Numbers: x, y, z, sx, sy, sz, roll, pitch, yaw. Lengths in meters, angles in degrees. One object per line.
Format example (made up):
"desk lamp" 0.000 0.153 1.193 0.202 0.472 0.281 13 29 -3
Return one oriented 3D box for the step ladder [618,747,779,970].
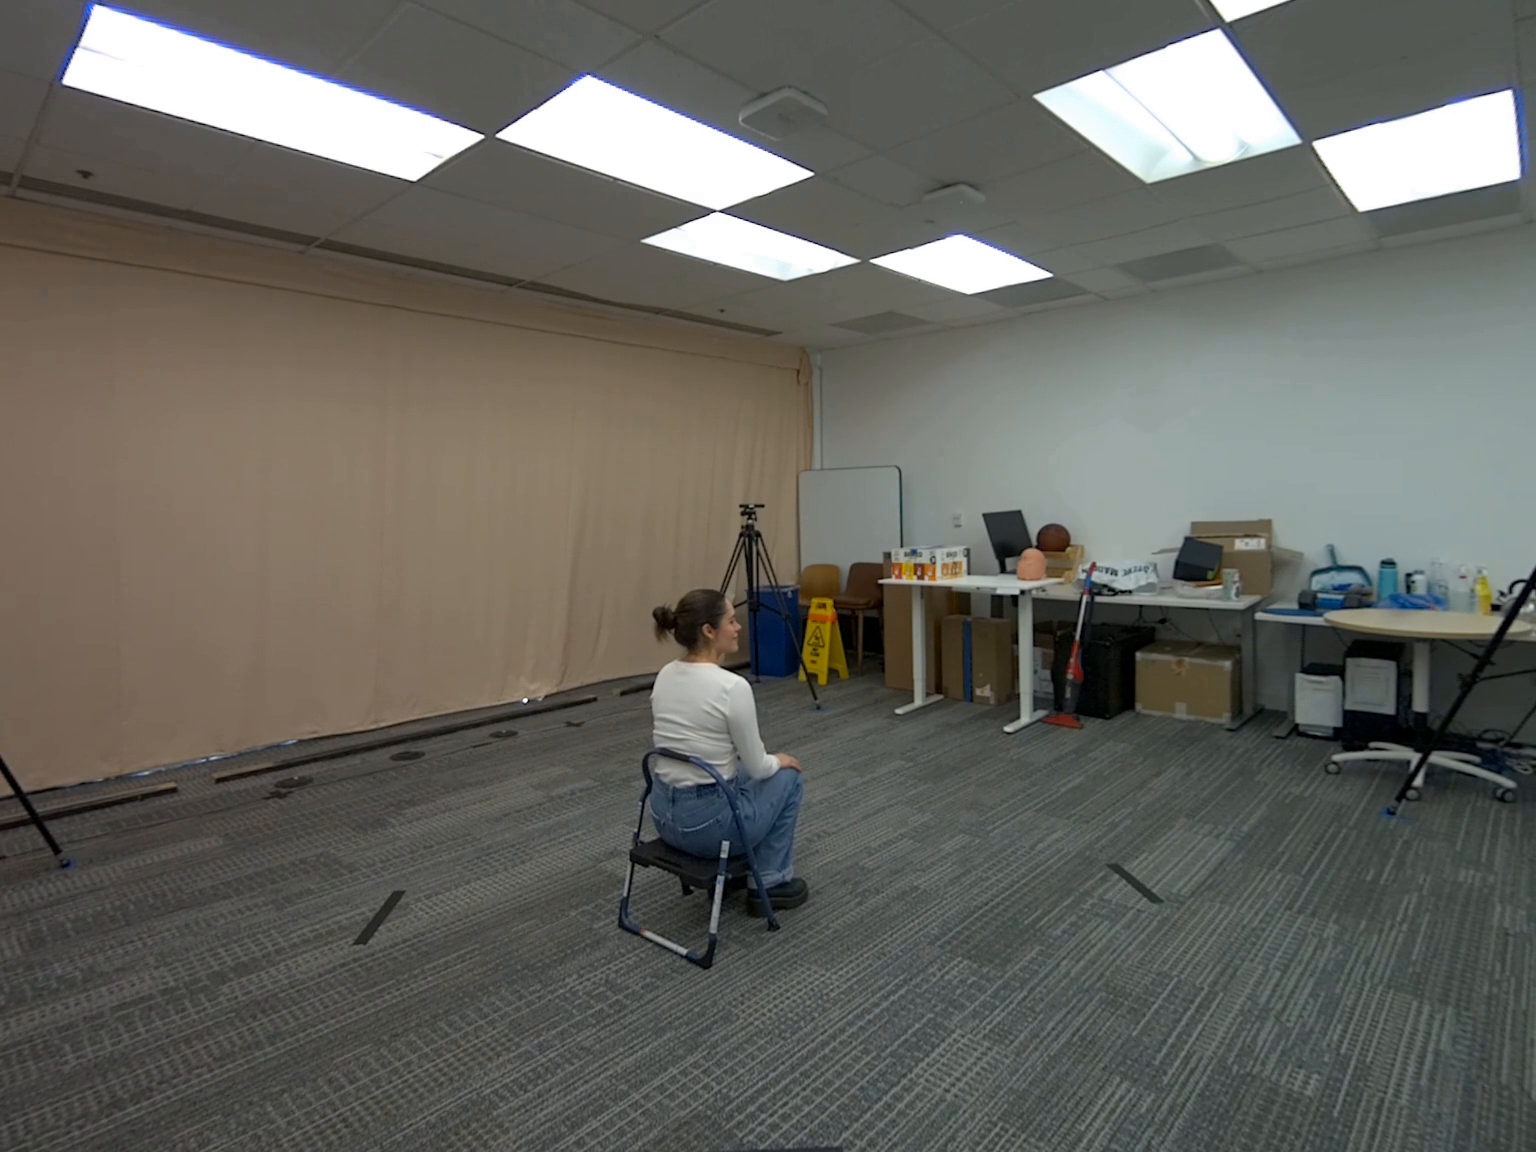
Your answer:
"step ladder" -0.240 0.860 2.765 0.445 0.605 0.339 2 4 40
